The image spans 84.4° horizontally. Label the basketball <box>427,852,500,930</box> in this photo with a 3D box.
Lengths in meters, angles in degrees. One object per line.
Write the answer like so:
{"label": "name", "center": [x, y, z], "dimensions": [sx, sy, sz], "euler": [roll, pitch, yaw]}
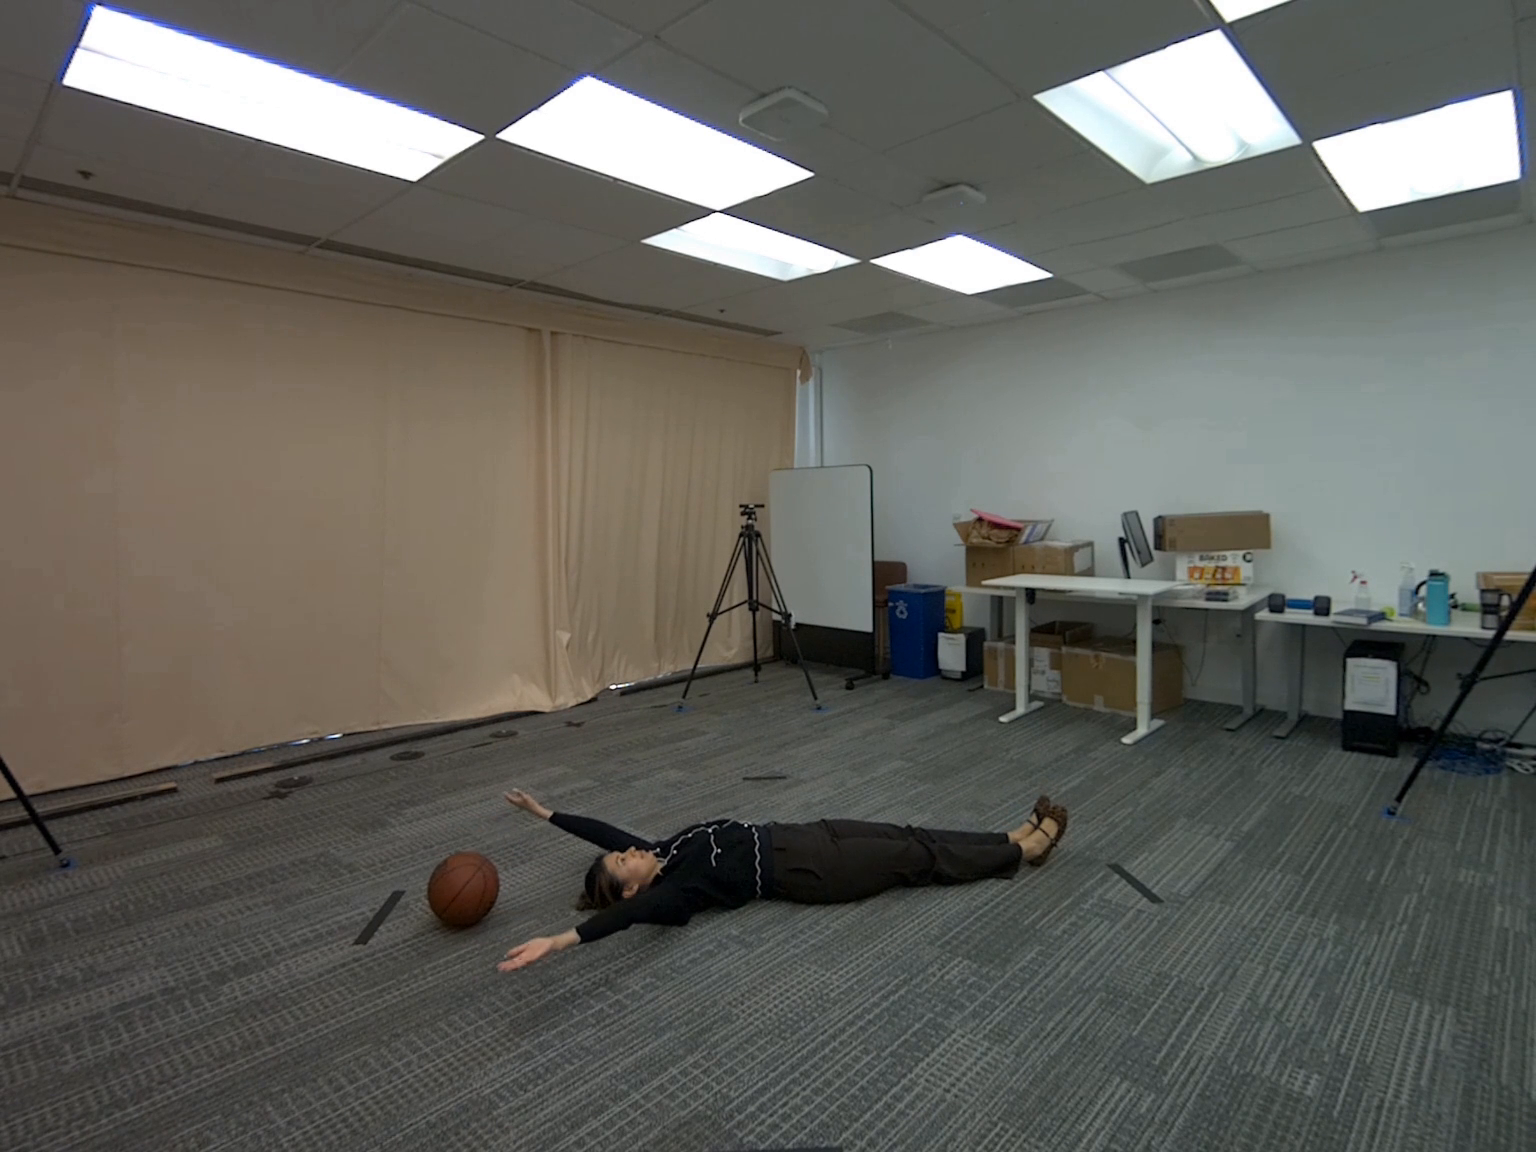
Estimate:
{"label": "basketball", "center": [-1.029, 1.057, 2.846], "dimensions": [0.236, 0.235, 0.237], "euler": [-1, 4, -2]}
